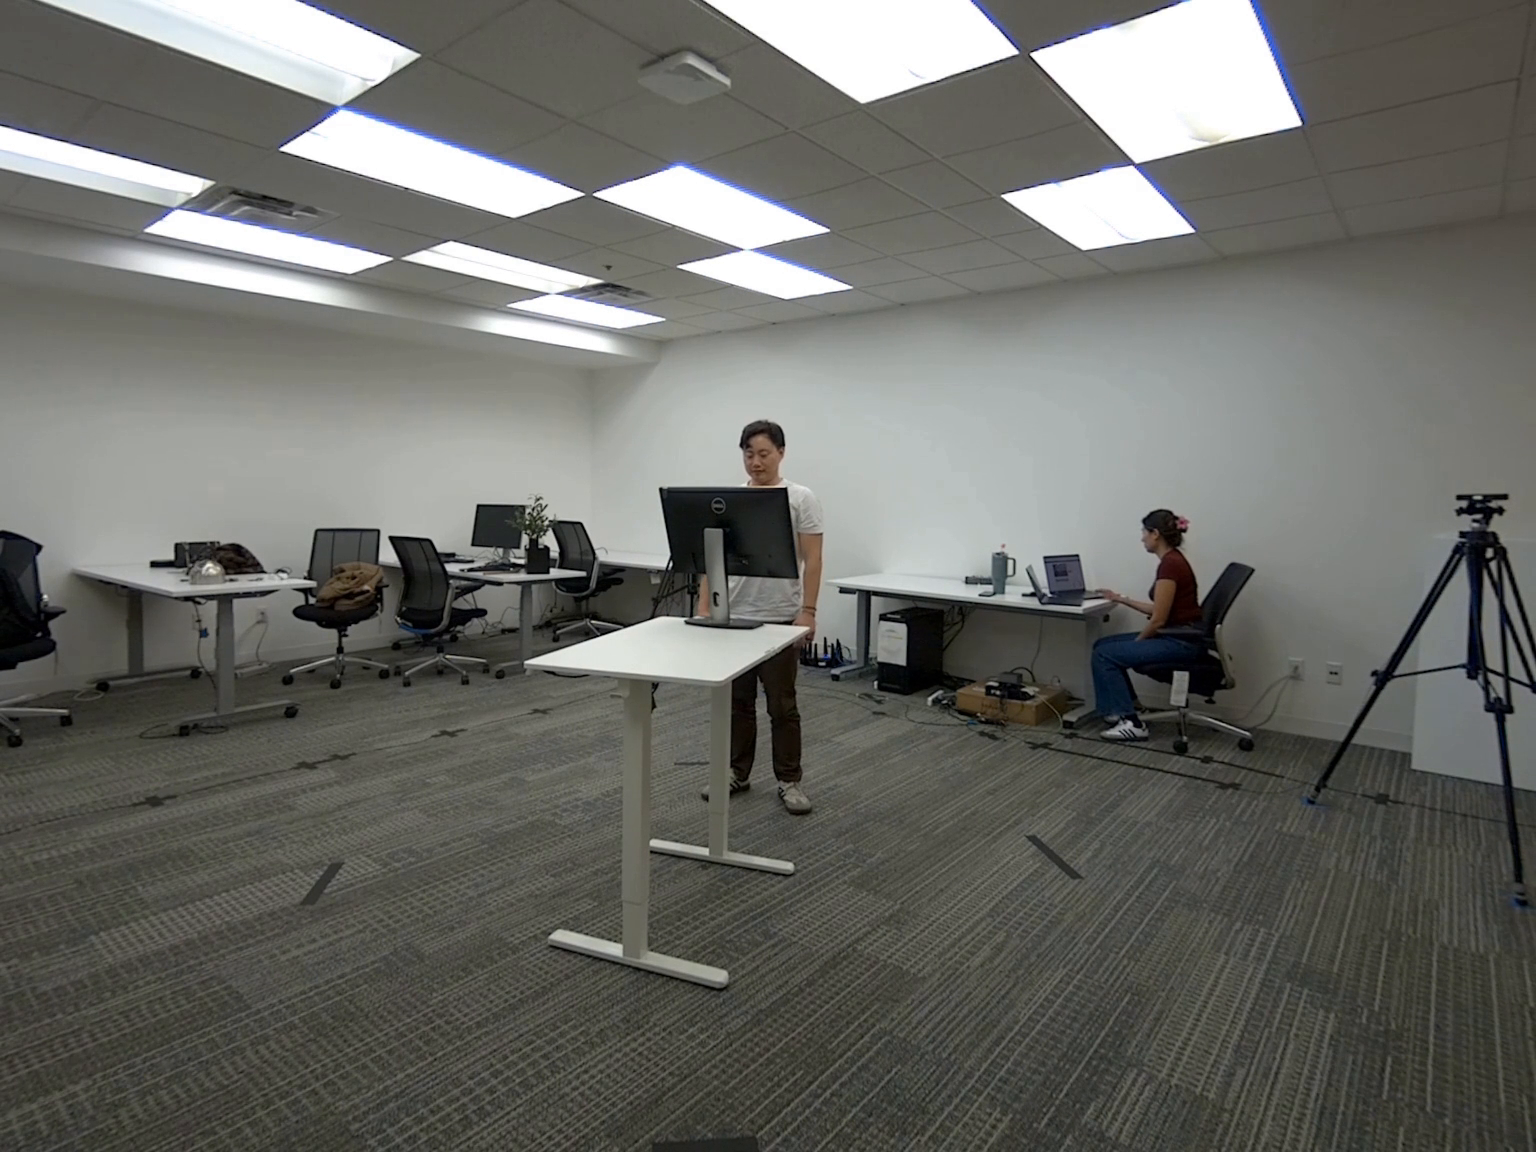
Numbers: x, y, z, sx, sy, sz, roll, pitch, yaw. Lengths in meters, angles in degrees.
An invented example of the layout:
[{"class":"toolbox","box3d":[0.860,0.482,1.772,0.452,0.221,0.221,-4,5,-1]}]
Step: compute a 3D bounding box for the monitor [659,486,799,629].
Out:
[{"class":"monitor","box3d":[-0.179,-0.075,3.161,0.553,0.520,0.183,2,6,26]}]
